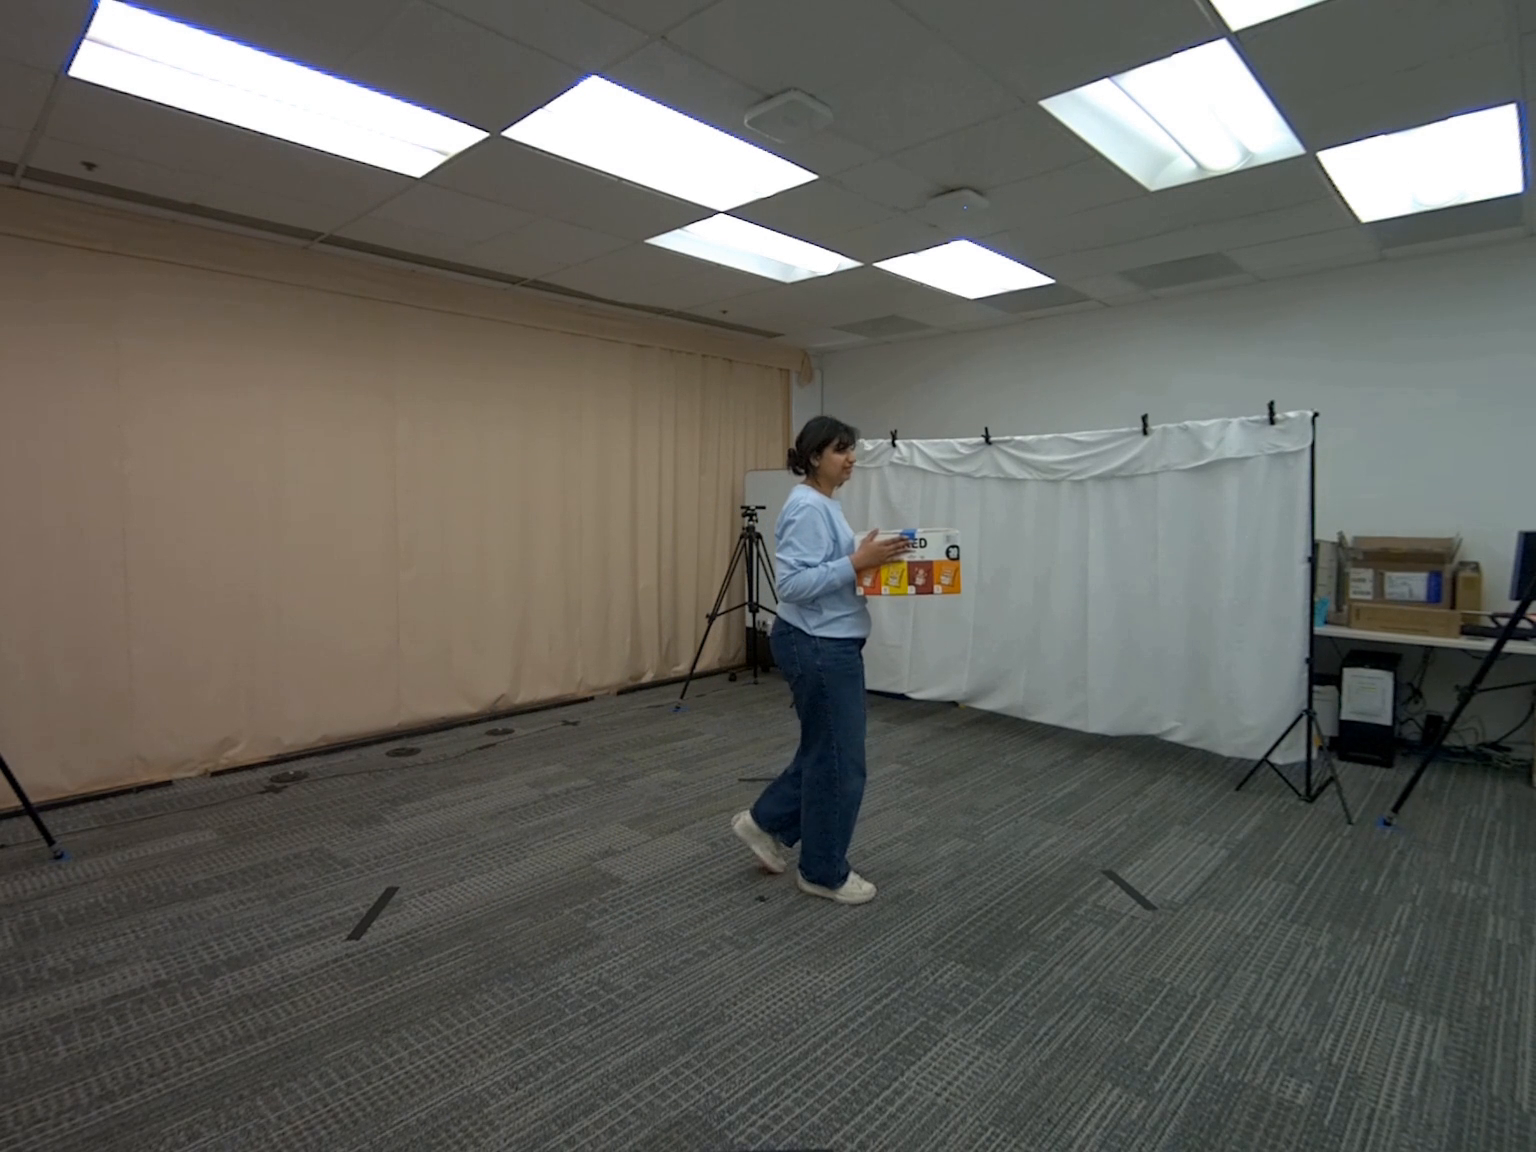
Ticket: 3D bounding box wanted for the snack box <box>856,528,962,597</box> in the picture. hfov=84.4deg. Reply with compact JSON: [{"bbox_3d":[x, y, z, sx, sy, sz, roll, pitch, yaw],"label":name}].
[{"bbox_3d":[0.491,-0.055,2.943,0.345,0.205,0.400,-2,4,13],"label":"snack box"}]
